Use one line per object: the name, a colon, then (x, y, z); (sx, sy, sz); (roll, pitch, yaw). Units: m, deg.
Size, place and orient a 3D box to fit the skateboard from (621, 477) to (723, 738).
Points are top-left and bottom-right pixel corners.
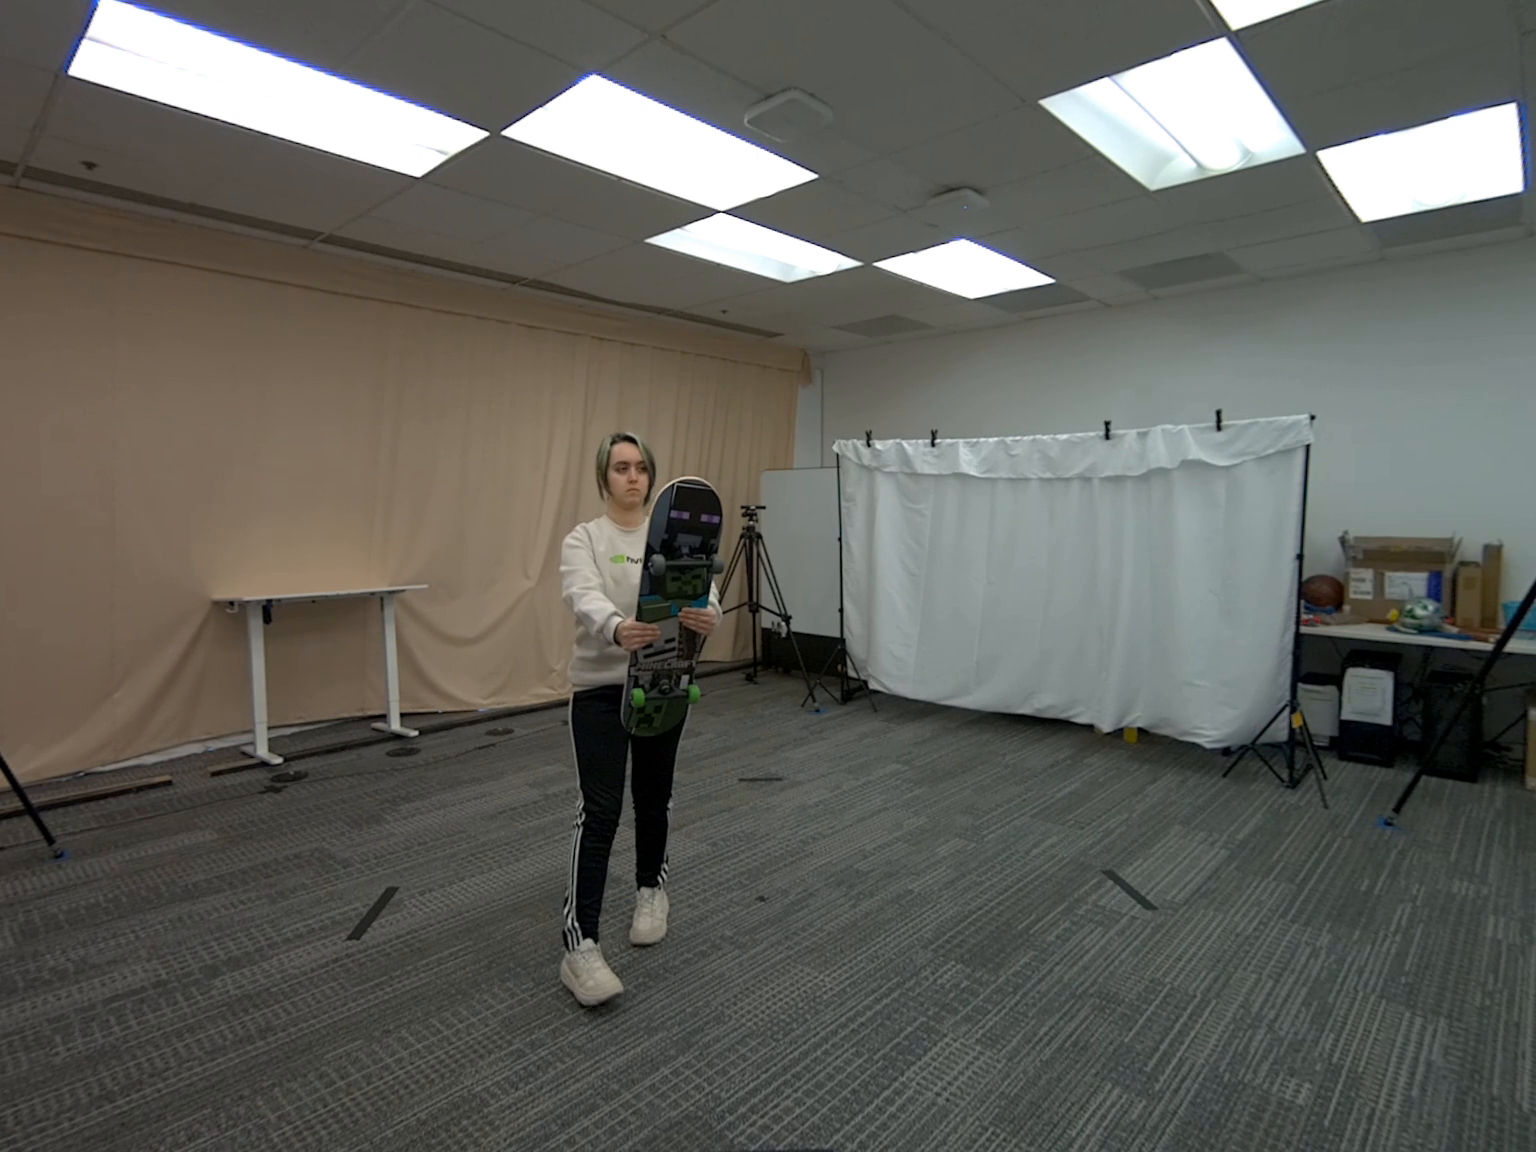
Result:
skateboard: (-0.249, 0.130, 2.161); (0.189, 0.777, 0.114); (-1, 29, -22)
